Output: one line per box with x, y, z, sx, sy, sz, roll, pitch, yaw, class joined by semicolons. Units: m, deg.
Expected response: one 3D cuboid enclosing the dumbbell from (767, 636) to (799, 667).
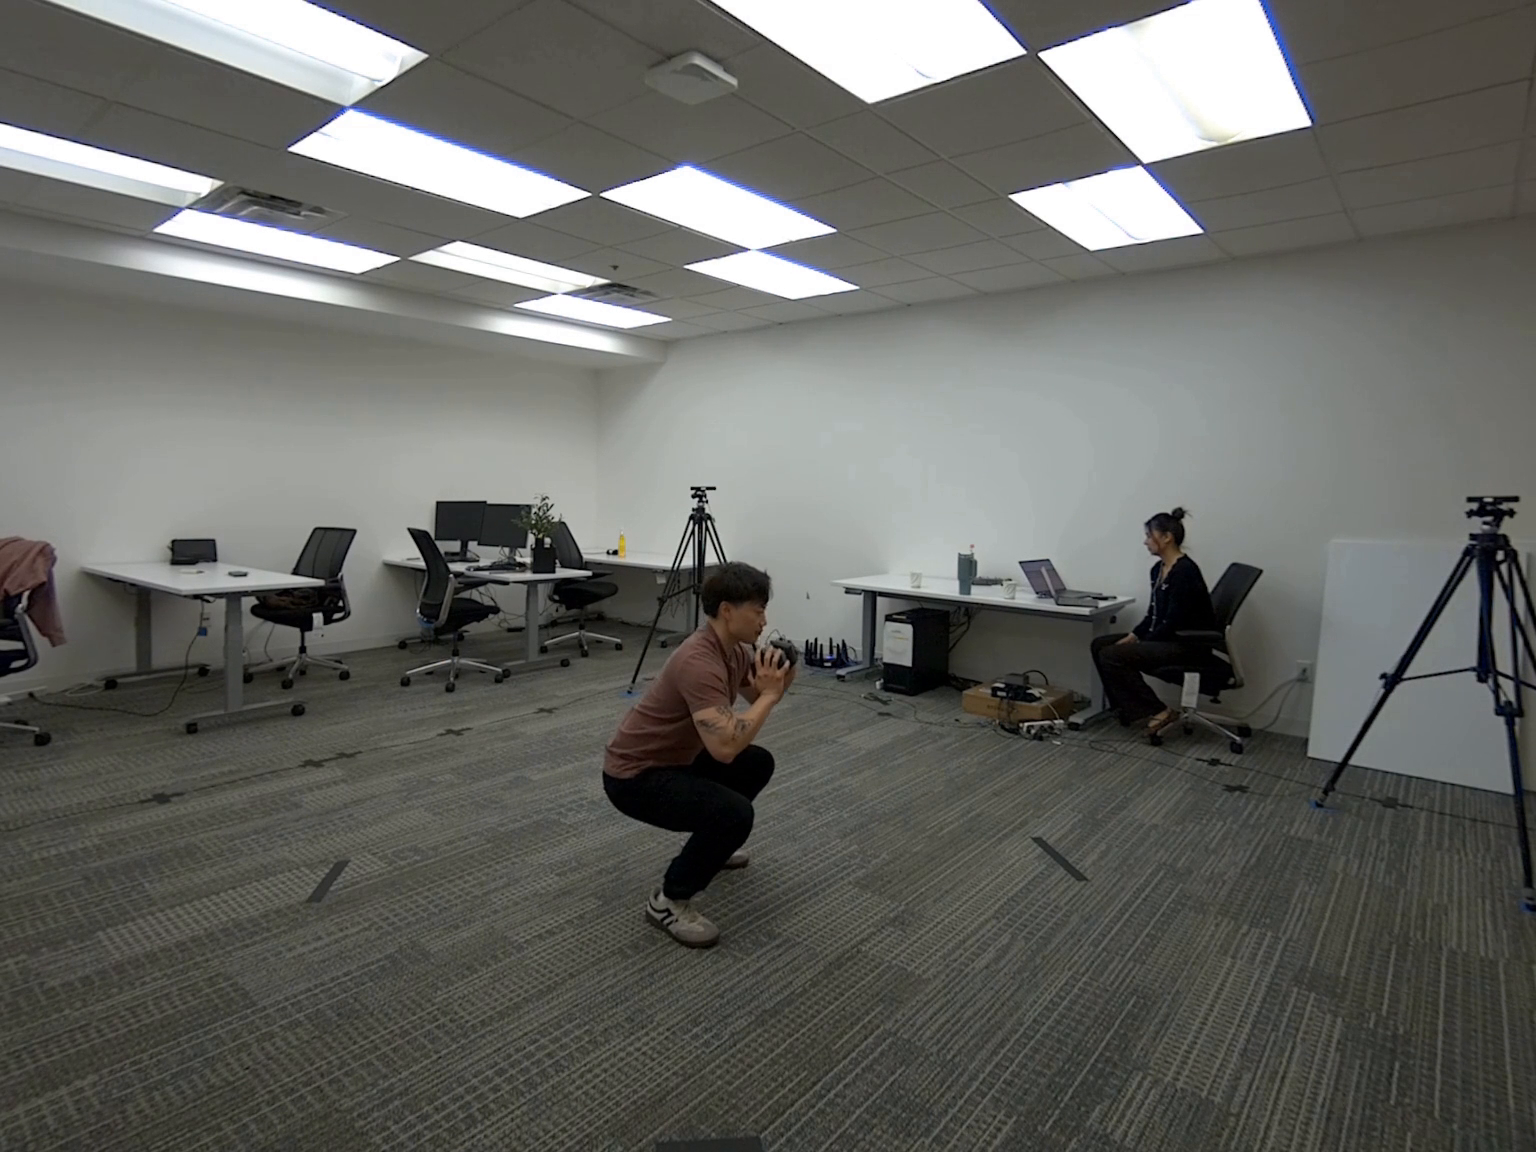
0.012;0.277;2.821;0.110;0.123;0.289;45;5;8;dumbbell
